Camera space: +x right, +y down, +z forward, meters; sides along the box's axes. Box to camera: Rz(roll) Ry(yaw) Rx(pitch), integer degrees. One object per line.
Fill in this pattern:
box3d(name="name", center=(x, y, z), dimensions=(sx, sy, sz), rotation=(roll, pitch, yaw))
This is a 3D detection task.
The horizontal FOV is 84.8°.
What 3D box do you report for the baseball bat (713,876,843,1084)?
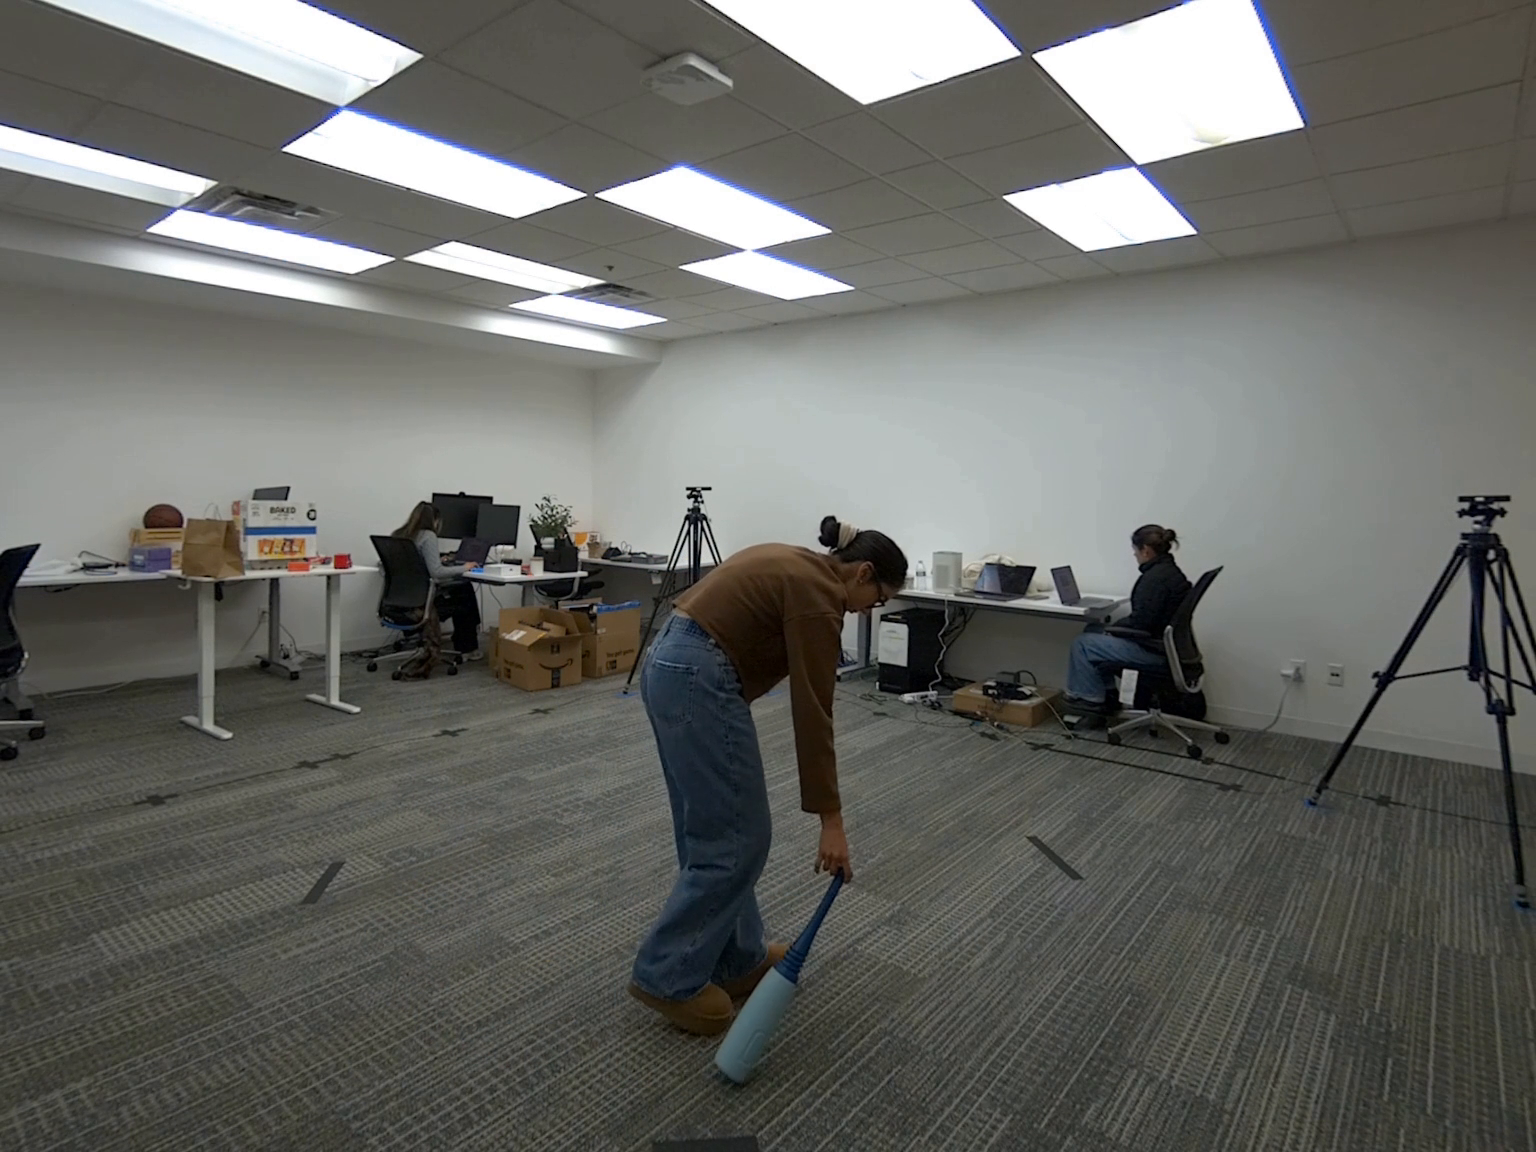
box3d(name="baseball bat", center=(0.051, 0.955, 2.058), dimensions=(0.090, 0.544, 0.088), rotation=(35, -13, 7))
